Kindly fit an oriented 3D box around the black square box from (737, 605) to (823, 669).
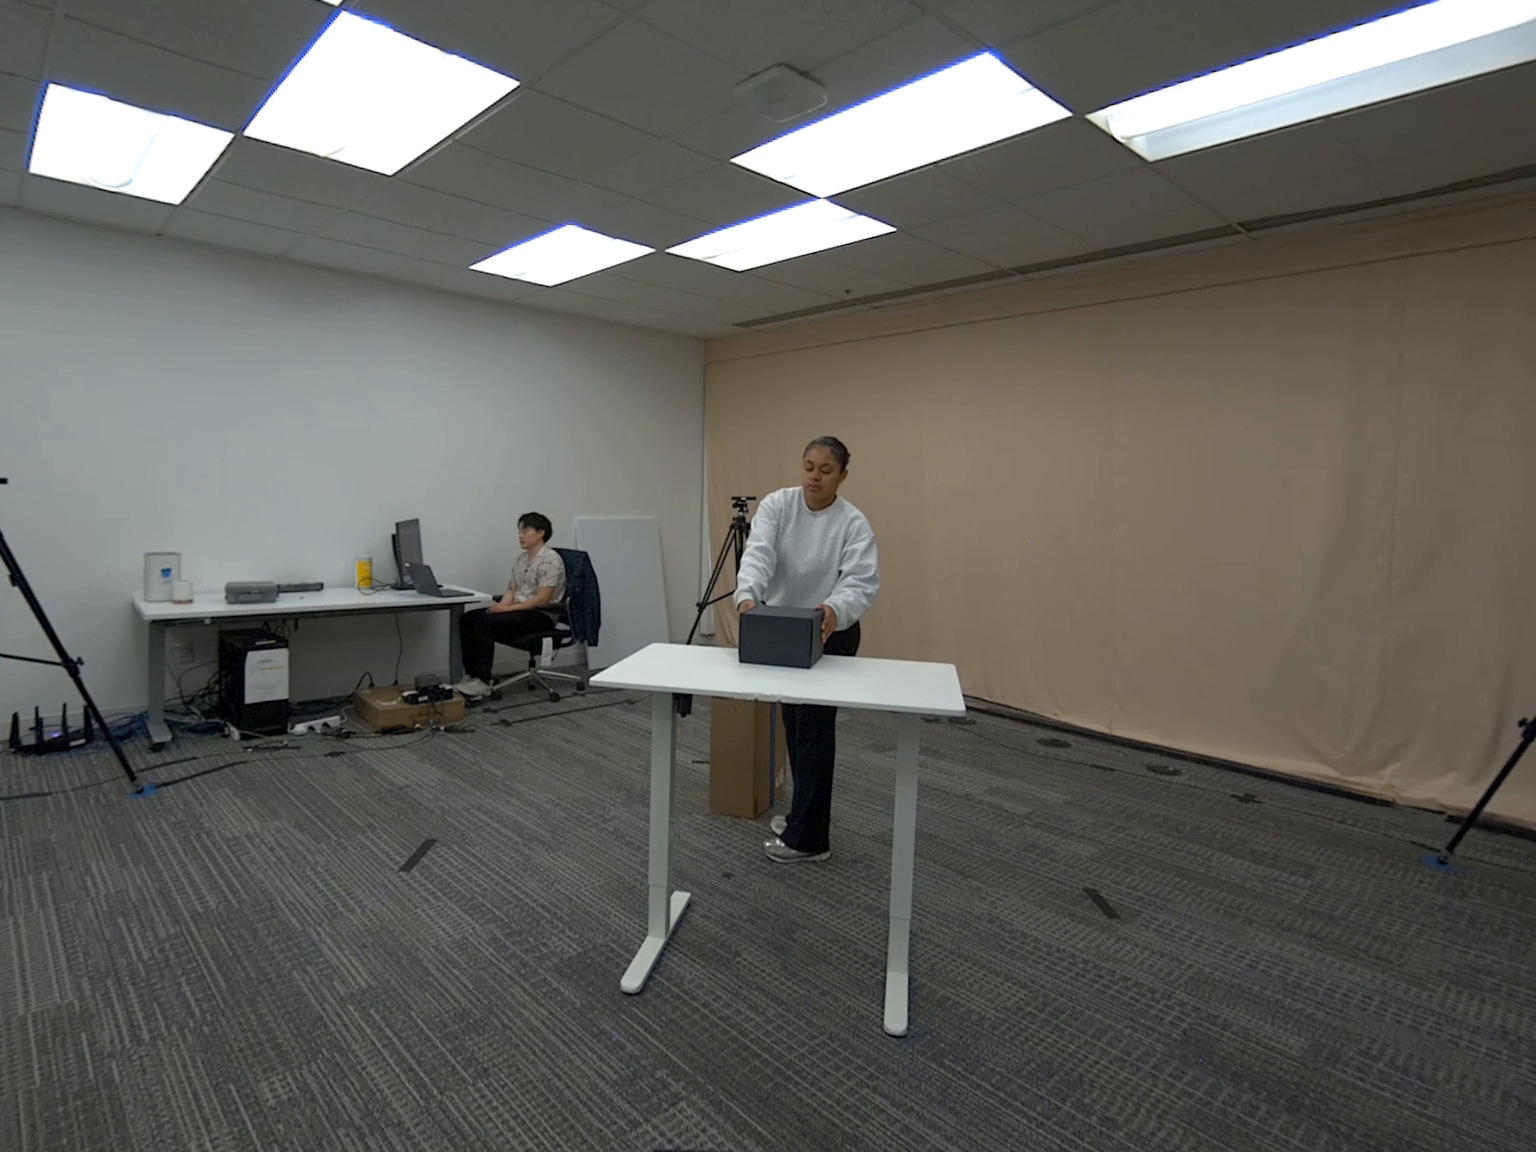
[{"bbox_3d":[0.040,0.190,2.659,0.231,0.155,0.215,3,5,15],"label":"black square box"}]
